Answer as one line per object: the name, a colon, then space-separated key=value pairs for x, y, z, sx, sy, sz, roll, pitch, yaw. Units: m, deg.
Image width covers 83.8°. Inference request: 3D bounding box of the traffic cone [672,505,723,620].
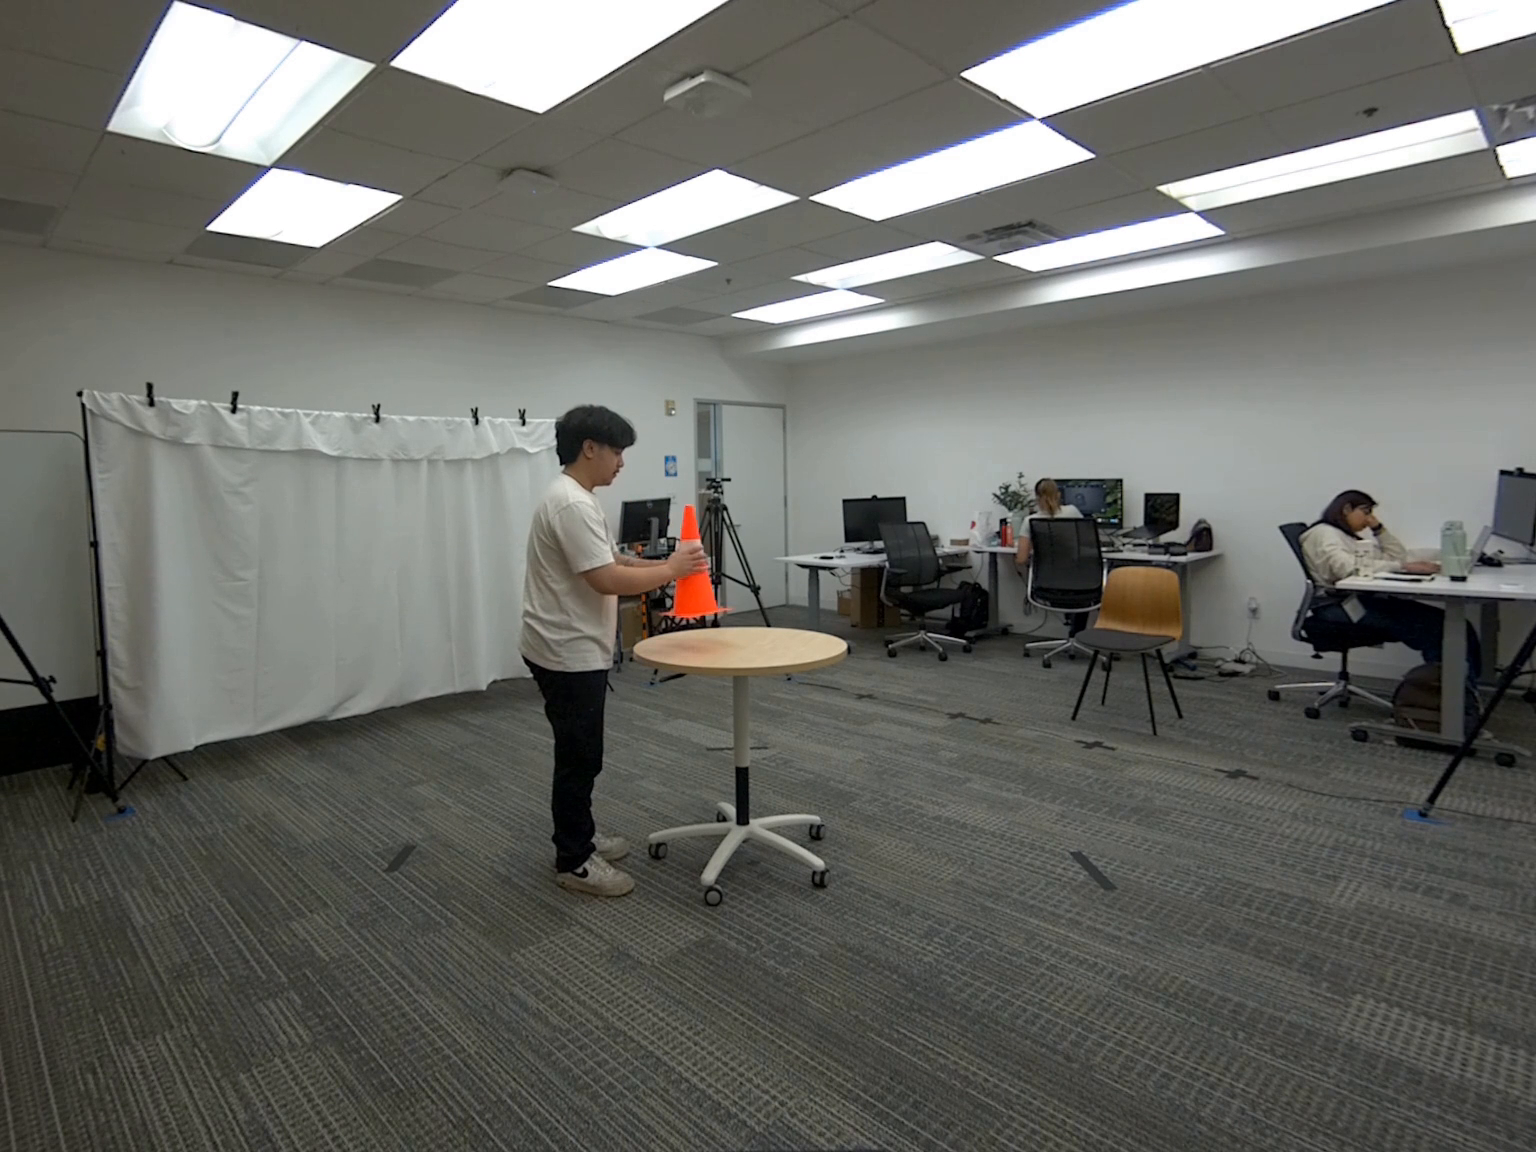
traffic cone: x=-0.282 y=-0.057 z=3.039 sx=0.208 sy=0.384 sz=0.200 roll=-7 pitch=-1 yaw=39
